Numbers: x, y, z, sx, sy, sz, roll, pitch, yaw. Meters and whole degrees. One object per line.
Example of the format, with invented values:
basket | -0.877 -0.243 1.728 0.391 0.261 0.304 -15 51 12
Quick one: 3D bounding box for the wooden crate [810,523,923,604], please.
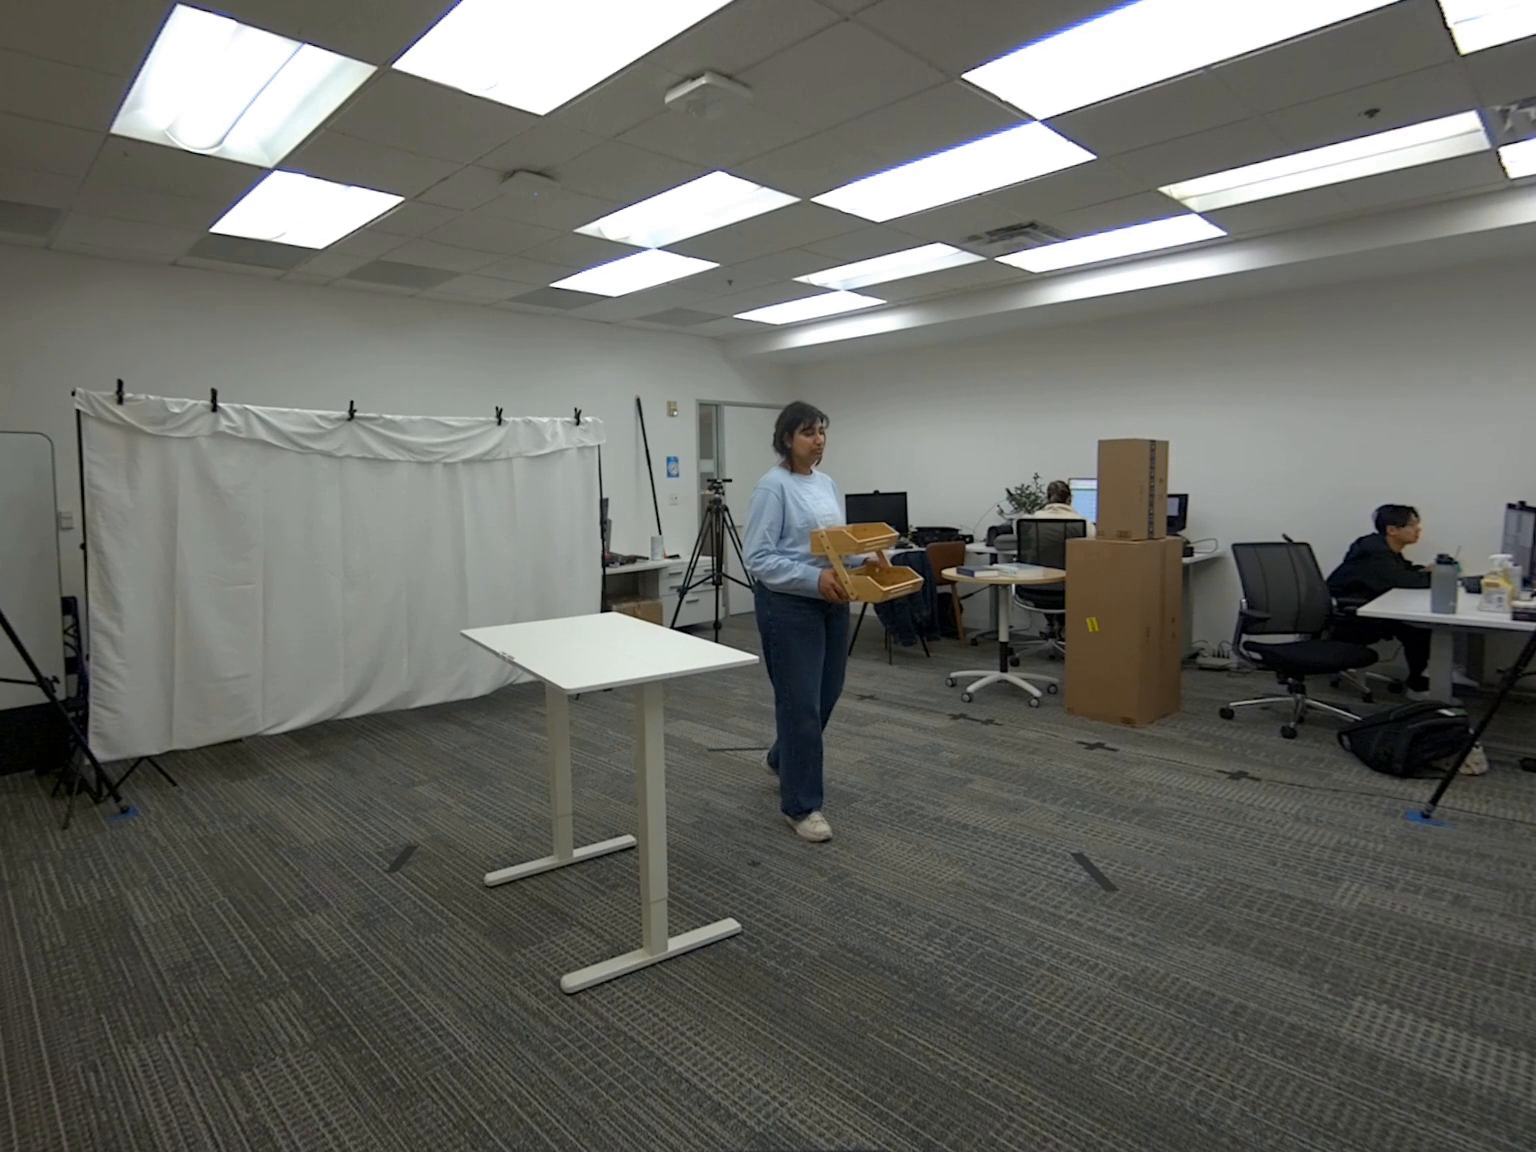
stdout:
wooden crate | 0.369 -0.057 3.225 0.311 0.272 0.316 0 6 40
